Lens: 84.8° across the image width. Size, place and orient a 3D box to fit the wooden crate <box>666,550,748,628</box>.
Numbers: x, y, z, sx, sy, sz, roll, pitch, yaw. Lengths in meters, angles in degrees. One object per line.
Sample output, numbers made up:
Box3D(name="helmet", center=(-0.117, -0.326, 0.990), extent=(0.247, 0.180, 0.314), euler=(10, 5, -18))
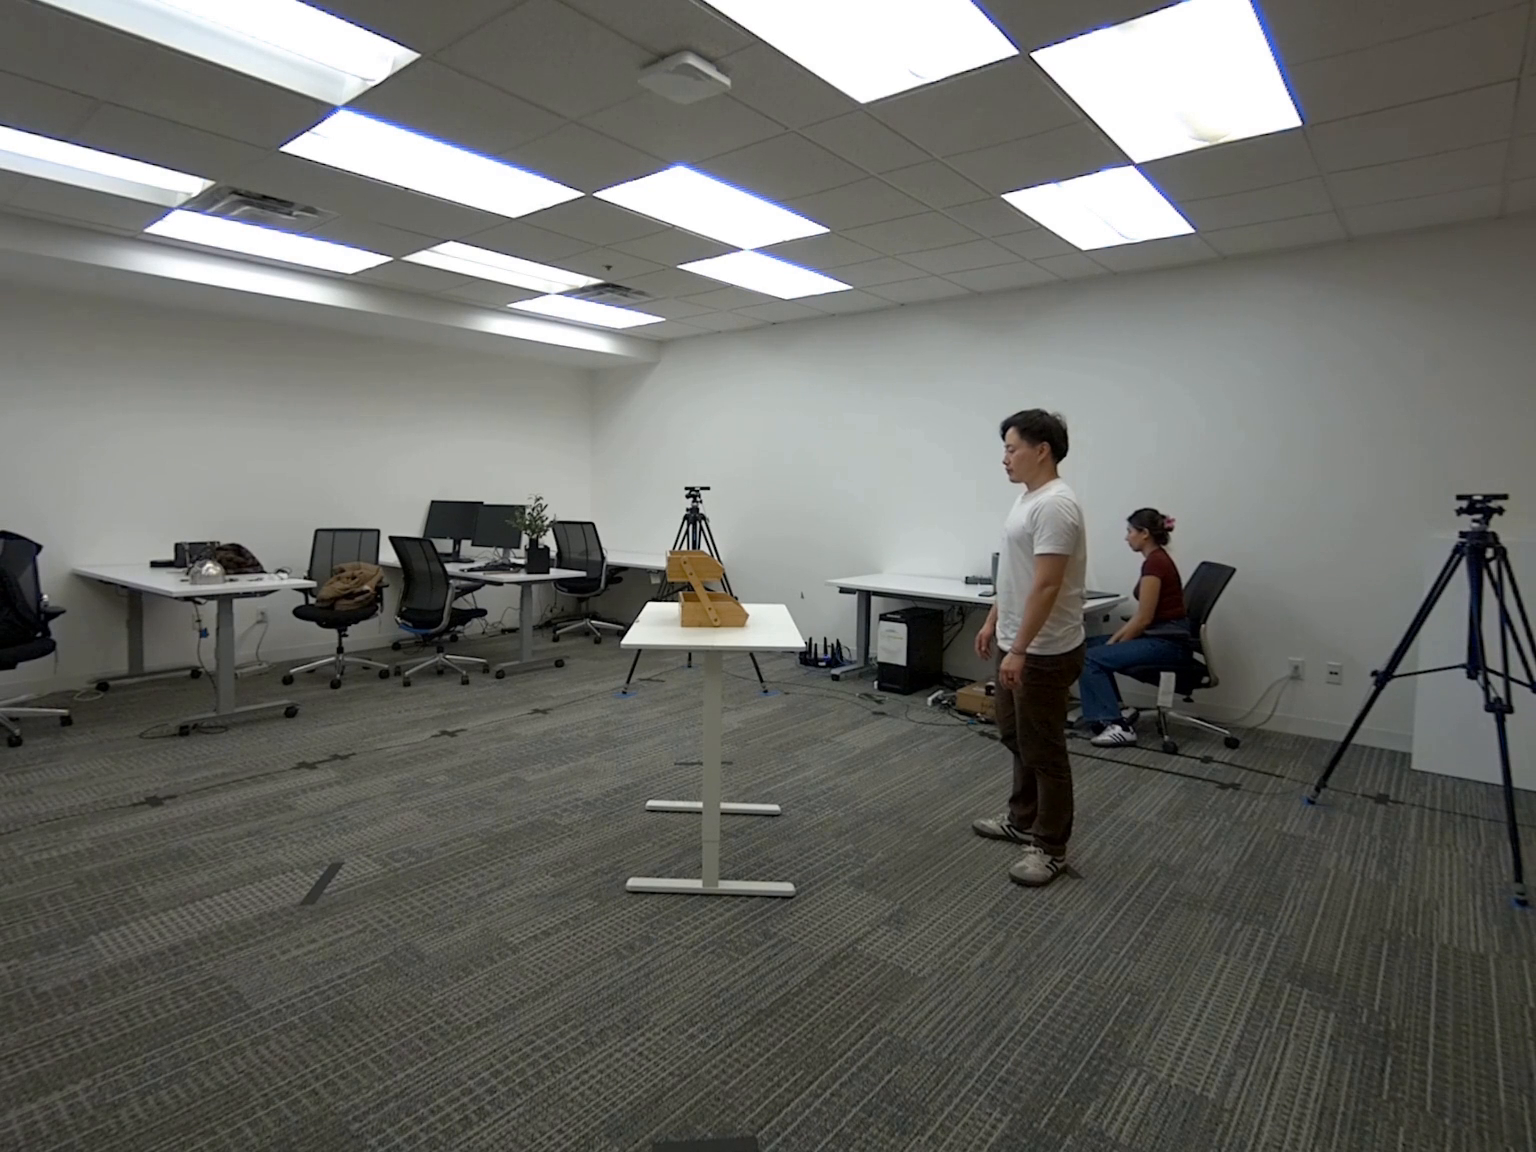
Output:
Box3D(name="wooden crate", center=(-0.240, 0.043, 3.251), extent=(0.300, 0.272, 0.328), euler=(1, 4, -7))
